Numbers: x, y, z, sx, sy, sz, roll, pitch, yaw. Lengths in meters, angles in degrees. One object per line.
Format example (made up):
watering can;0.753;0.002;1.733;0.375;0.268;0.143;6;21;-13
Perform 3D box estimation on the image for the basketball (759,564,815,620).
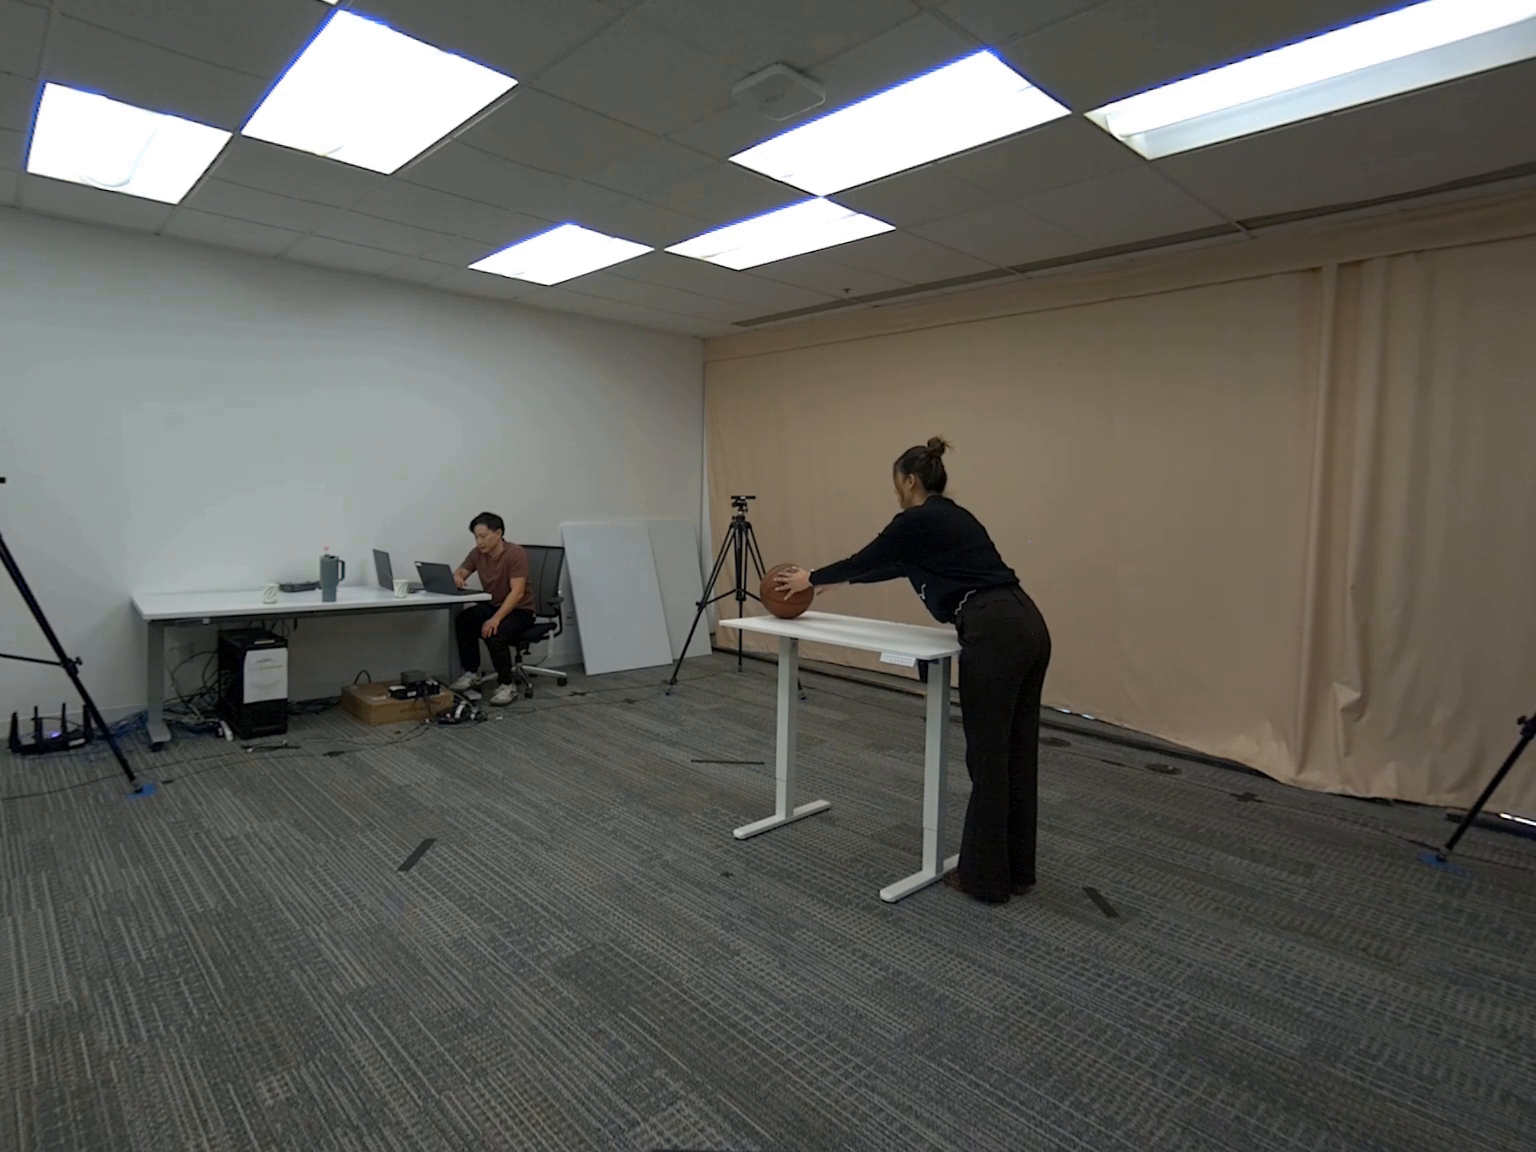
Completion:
basketball;0.077;0.064;3.627;0.236;0.235;0.237;1;4;-1
